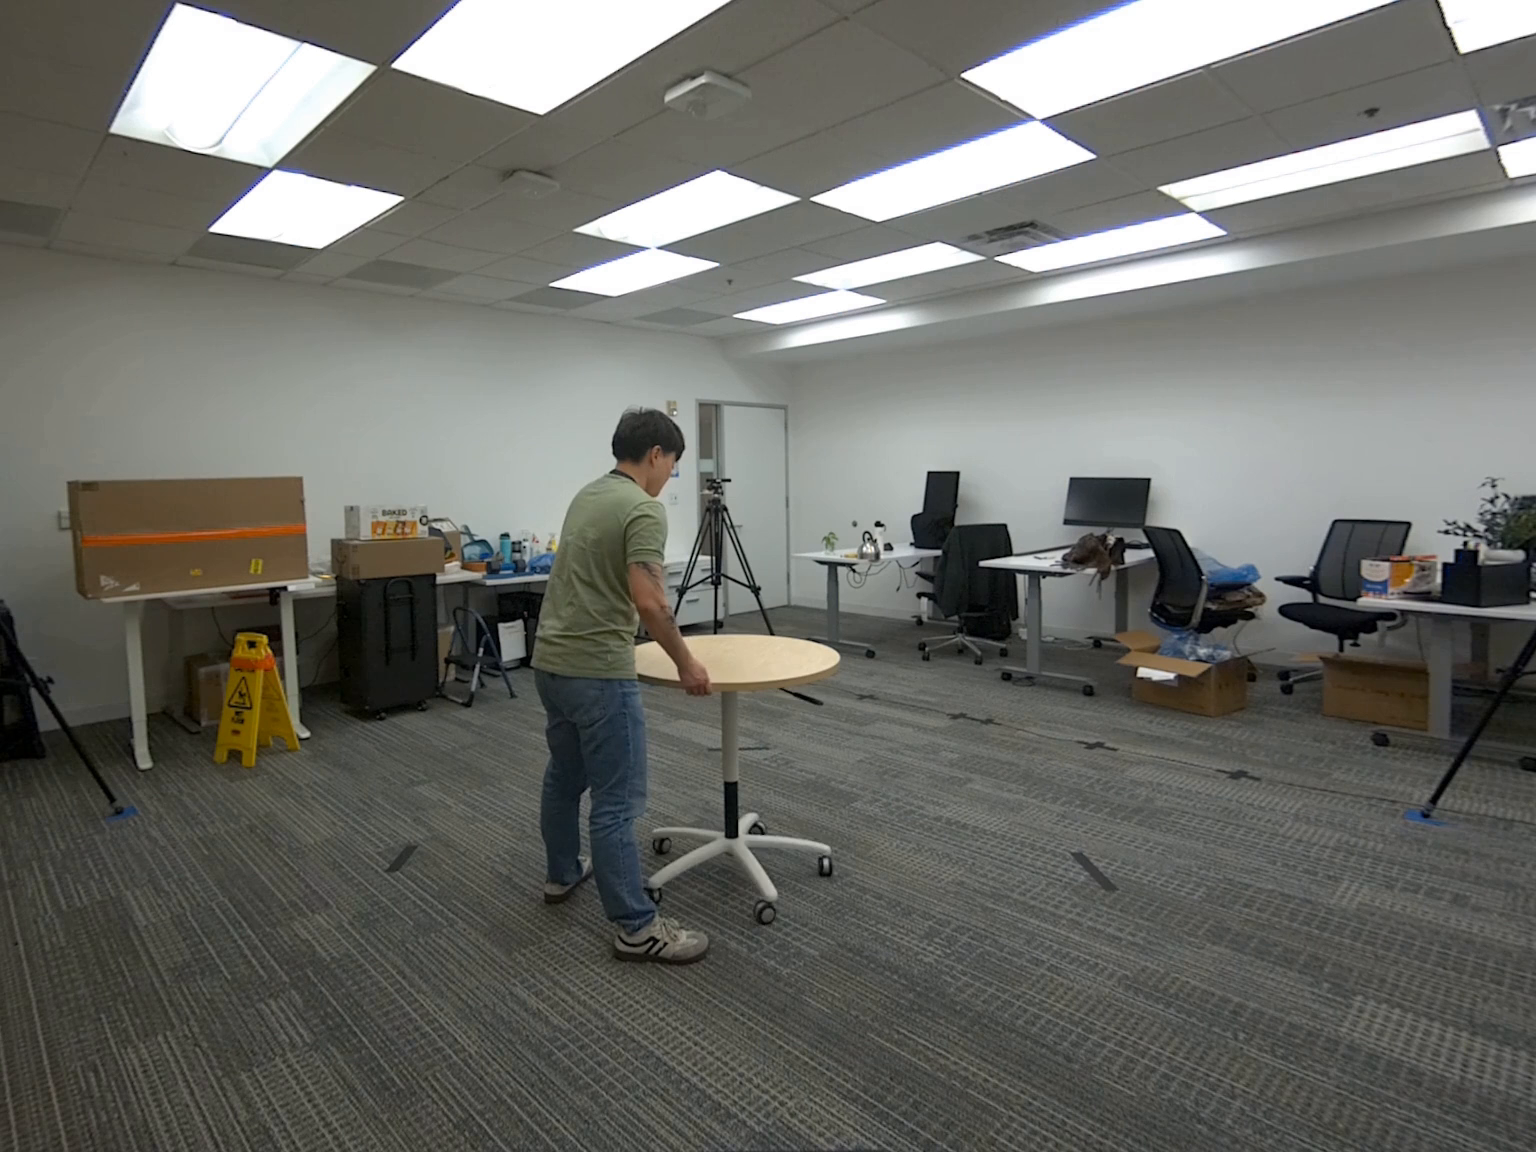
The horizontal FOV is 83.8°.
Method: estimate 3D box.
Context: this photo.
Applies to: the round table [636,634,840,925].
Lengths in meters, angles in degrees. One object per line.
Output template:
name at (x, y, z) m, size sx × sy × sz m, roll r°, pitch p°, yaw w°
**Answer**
round table at (-0.124, 0.668, 2.988) m, size 0.763 × 0.791 × 0.768 m, roll -1°, pitch 5°, yaw -2°
